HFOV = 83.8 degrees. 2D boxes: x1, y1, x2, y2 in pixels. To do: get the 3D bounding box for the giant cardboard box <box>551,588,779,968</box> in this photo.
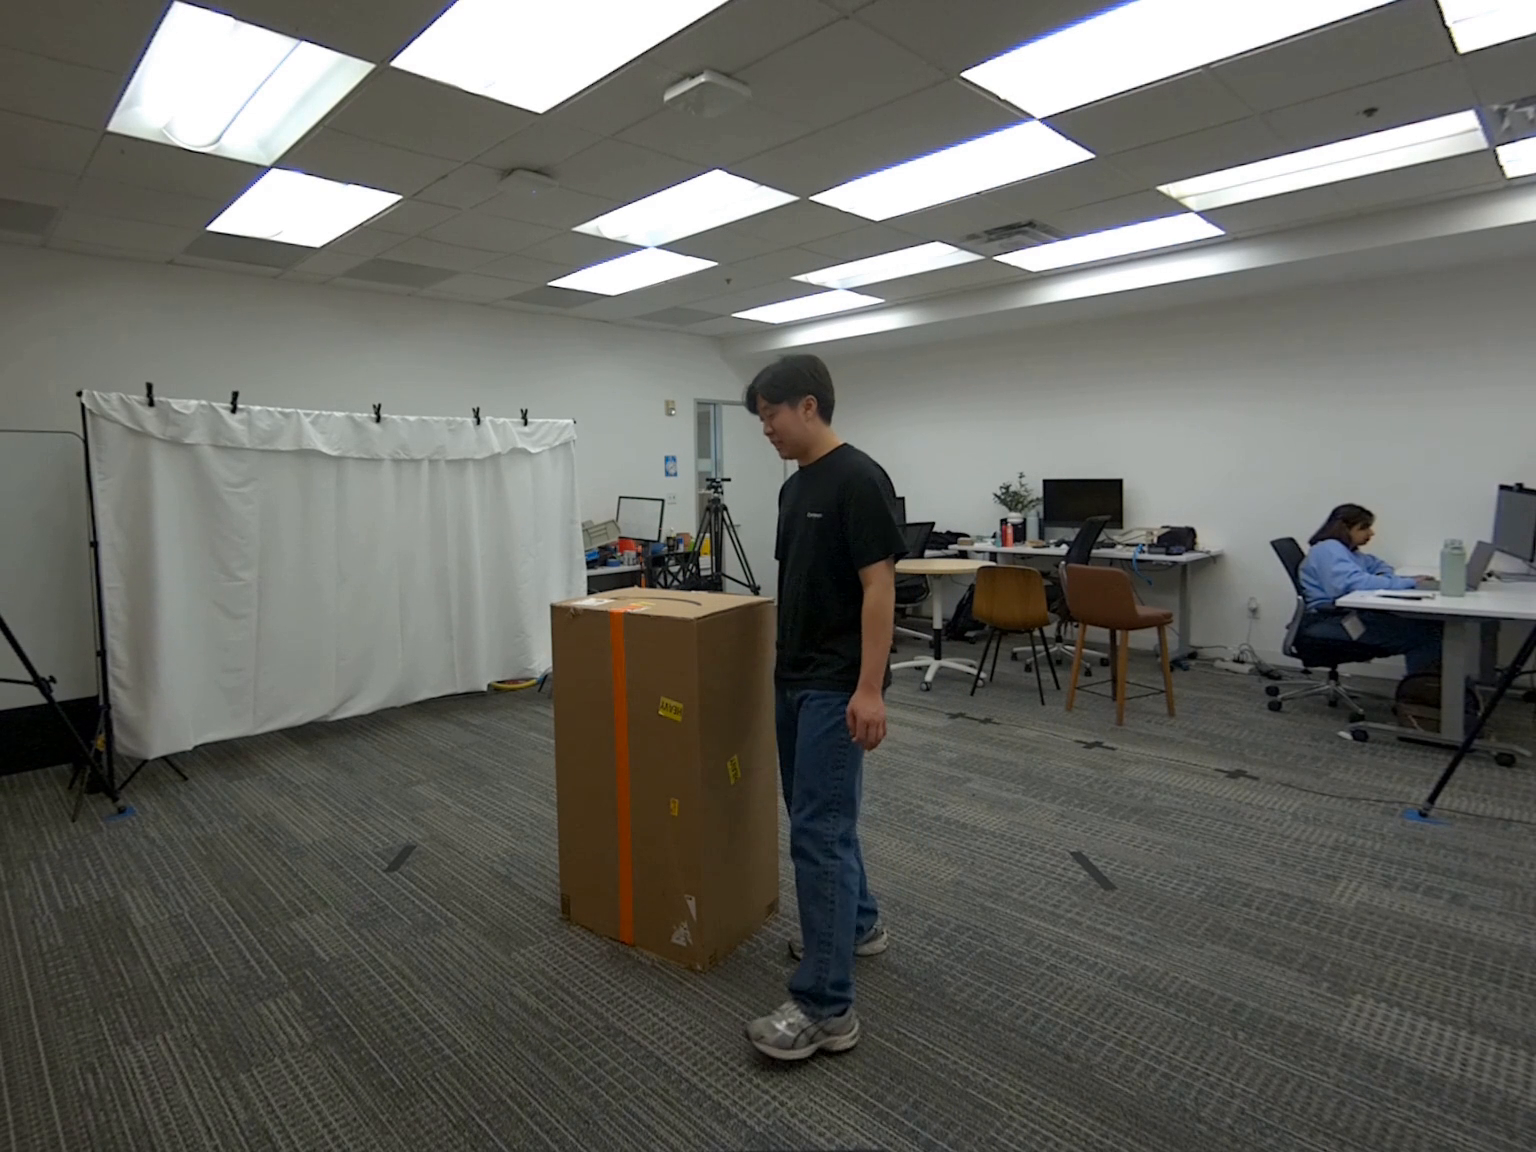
[{"bbox_3d":[-0.324,0.581,2.714,0.600,1.022,0.436,2,6,35],"label":"giant cardboard box"}]
